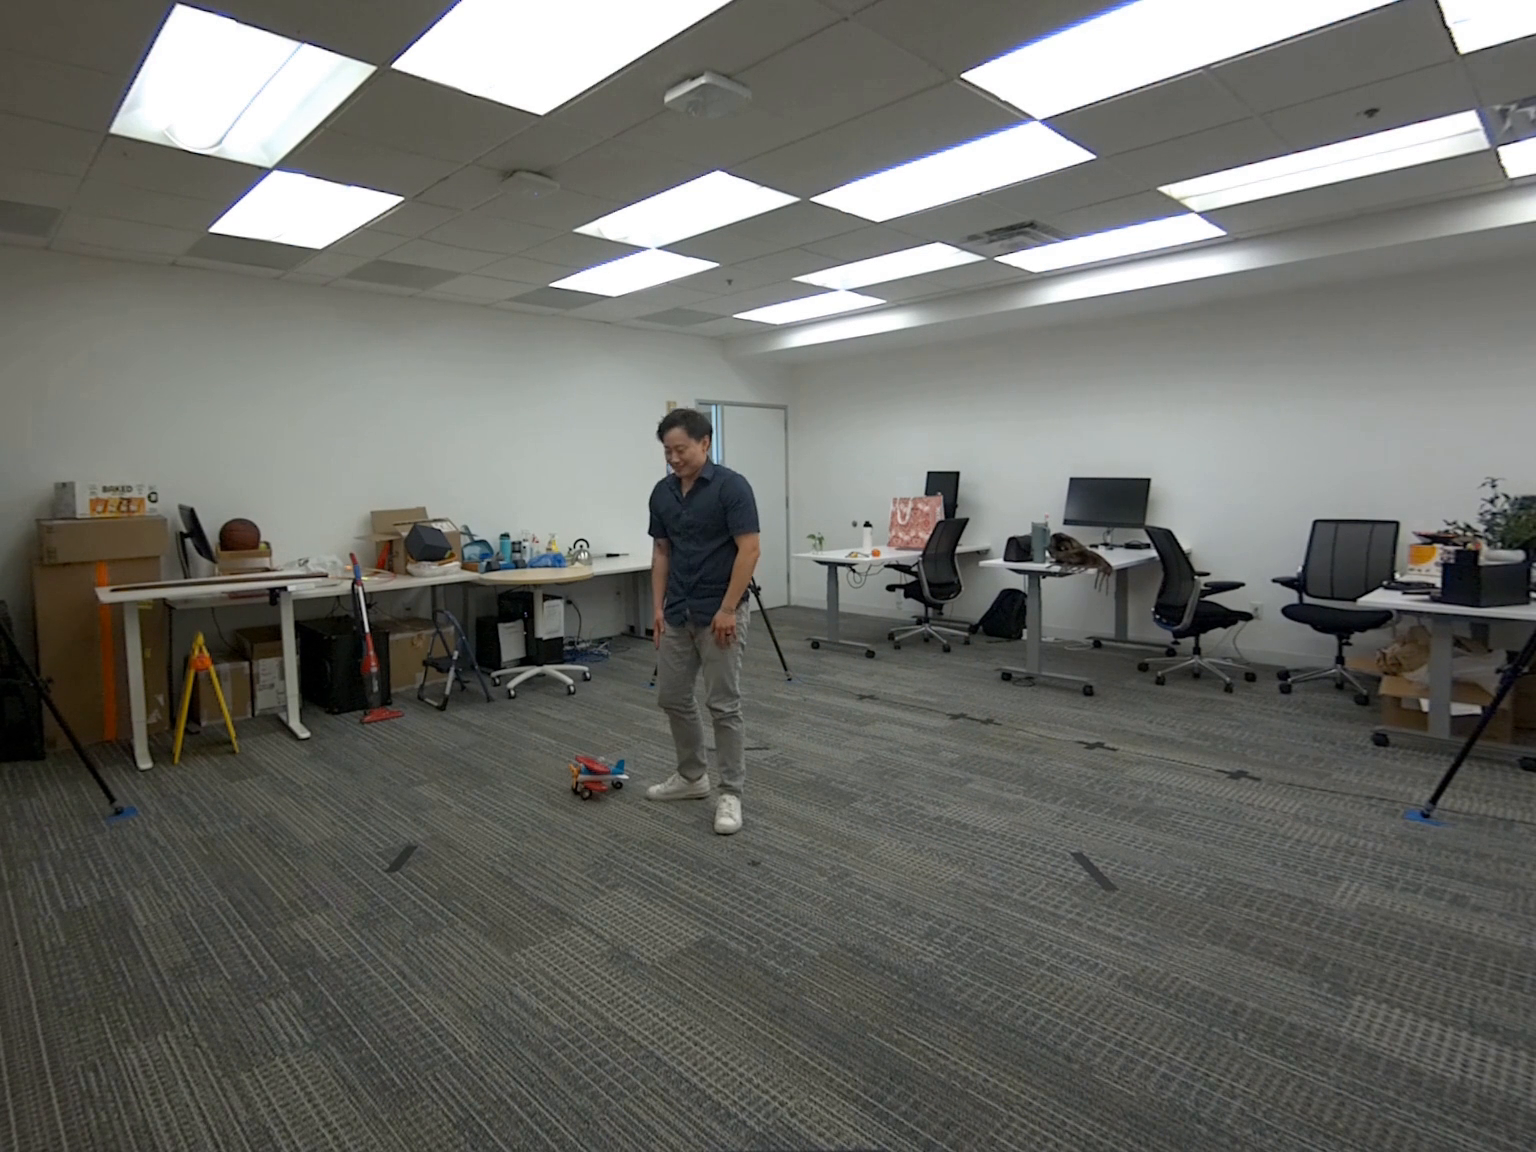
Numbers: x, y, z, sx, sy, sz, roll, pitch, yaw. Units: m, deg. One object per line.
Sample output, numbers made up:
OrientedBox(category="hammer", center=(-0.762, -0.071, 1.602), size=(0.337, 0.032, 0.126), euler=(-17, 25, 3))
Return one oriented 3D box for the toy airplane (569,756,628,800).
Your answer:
OrientedBox(category="toy airplane", center=(-0.774, 0.899, 3.864), size=(0.257, 0.156, 0.254), euler=(1, 7, 26))
